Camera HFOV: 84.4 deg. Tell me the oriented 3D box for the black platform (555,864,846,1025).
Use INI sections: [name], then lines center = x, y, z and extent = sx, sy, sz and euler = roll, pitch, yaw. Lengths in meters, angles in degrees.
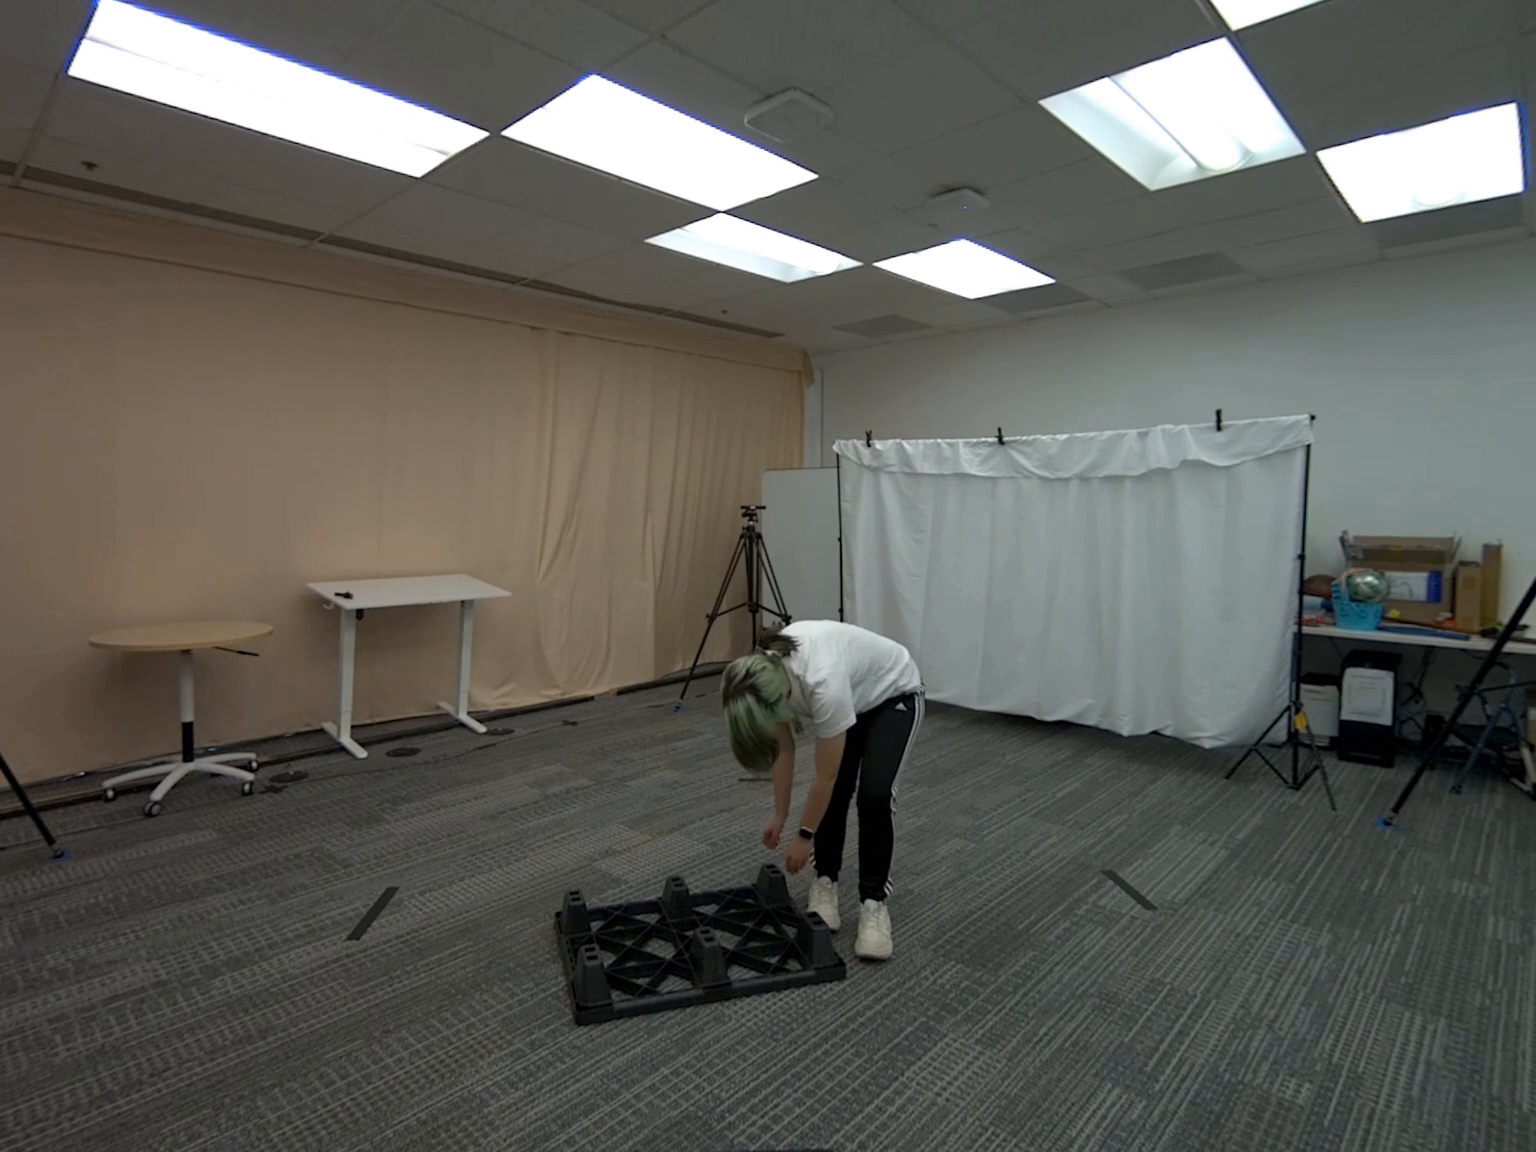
[black platform]
center = -0.236, 1.103, 2.638
extent = 0.791, 0.143, 0.617
euler = -2, 5, -18
